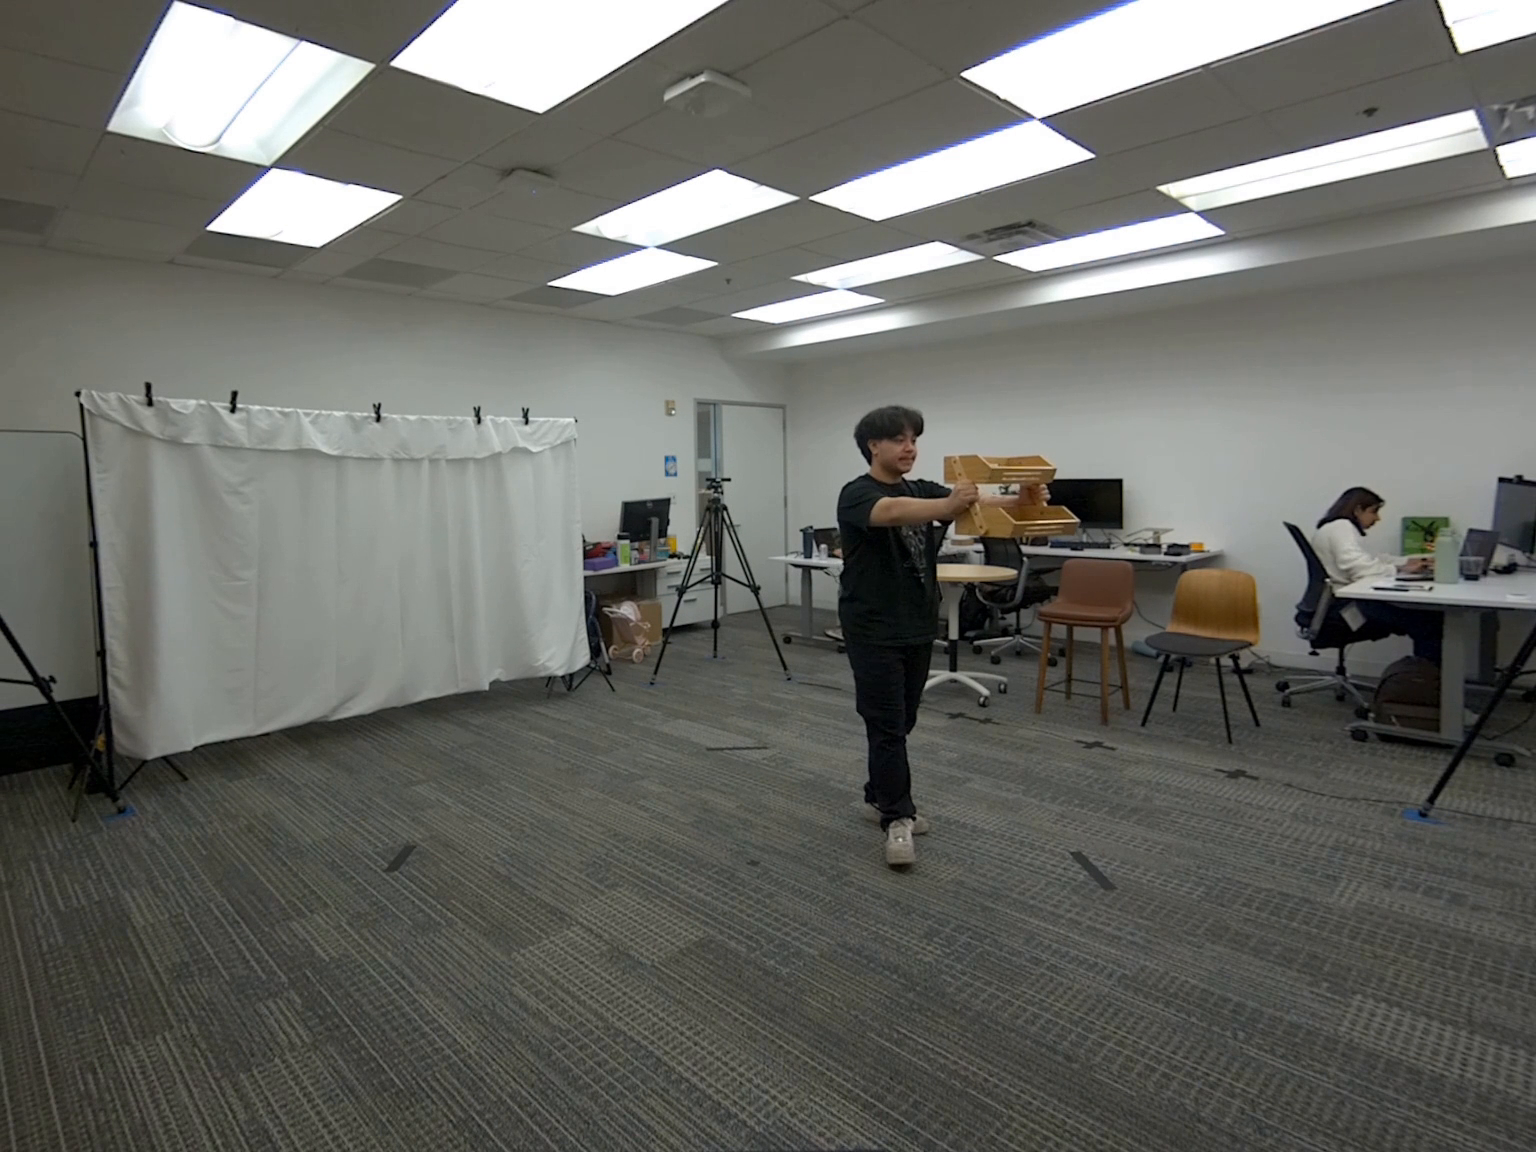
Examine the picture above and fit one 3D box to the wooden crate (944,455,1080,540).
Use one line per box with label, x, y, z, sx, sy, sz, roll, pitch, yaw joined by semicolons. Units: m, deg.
wooden crate;0.798;-0.271;2.785;0.316;0.272;0.310;-3;4;-32
